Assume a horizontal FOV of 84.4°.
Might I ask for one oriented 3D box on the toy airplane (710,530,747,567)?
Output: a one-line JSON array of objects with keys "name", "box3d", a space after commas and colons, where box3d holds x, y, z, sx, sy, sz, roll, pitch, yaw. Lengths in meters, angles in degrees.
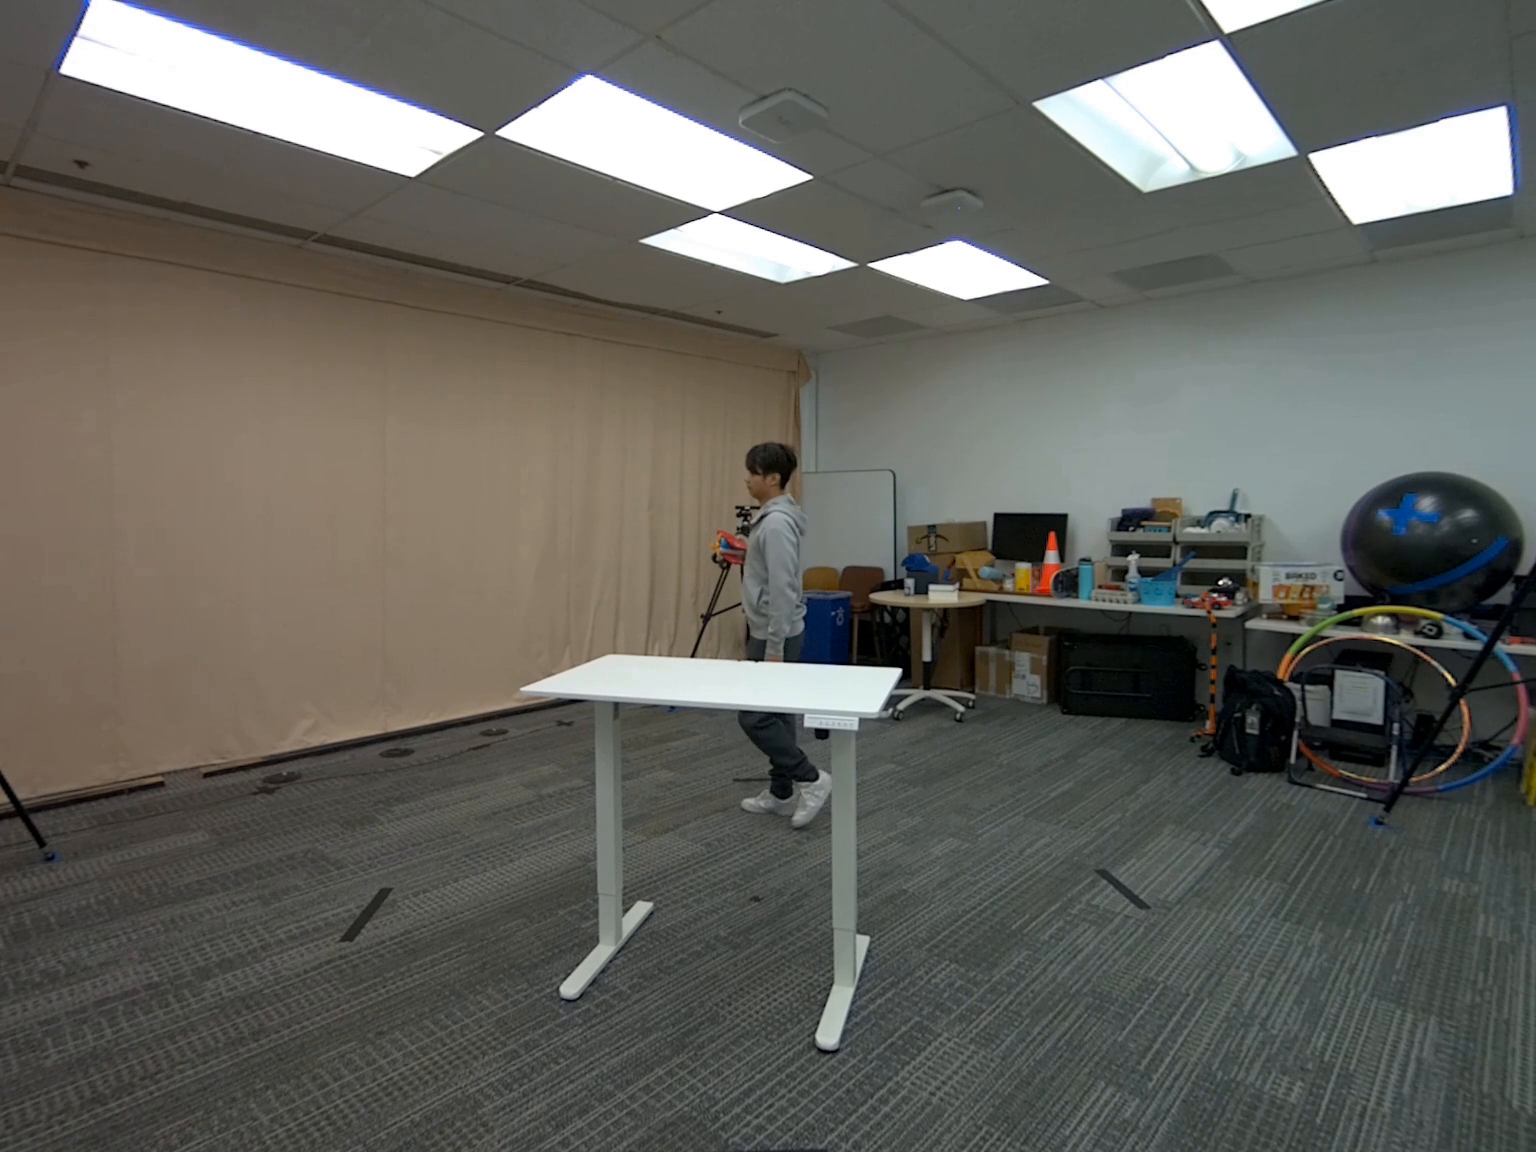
[{"name": "toy airplane", "box3d": [-0.162, -0.148, 4.286, 0.259, 0.154, 0.253, 20, 27, 32]}]
